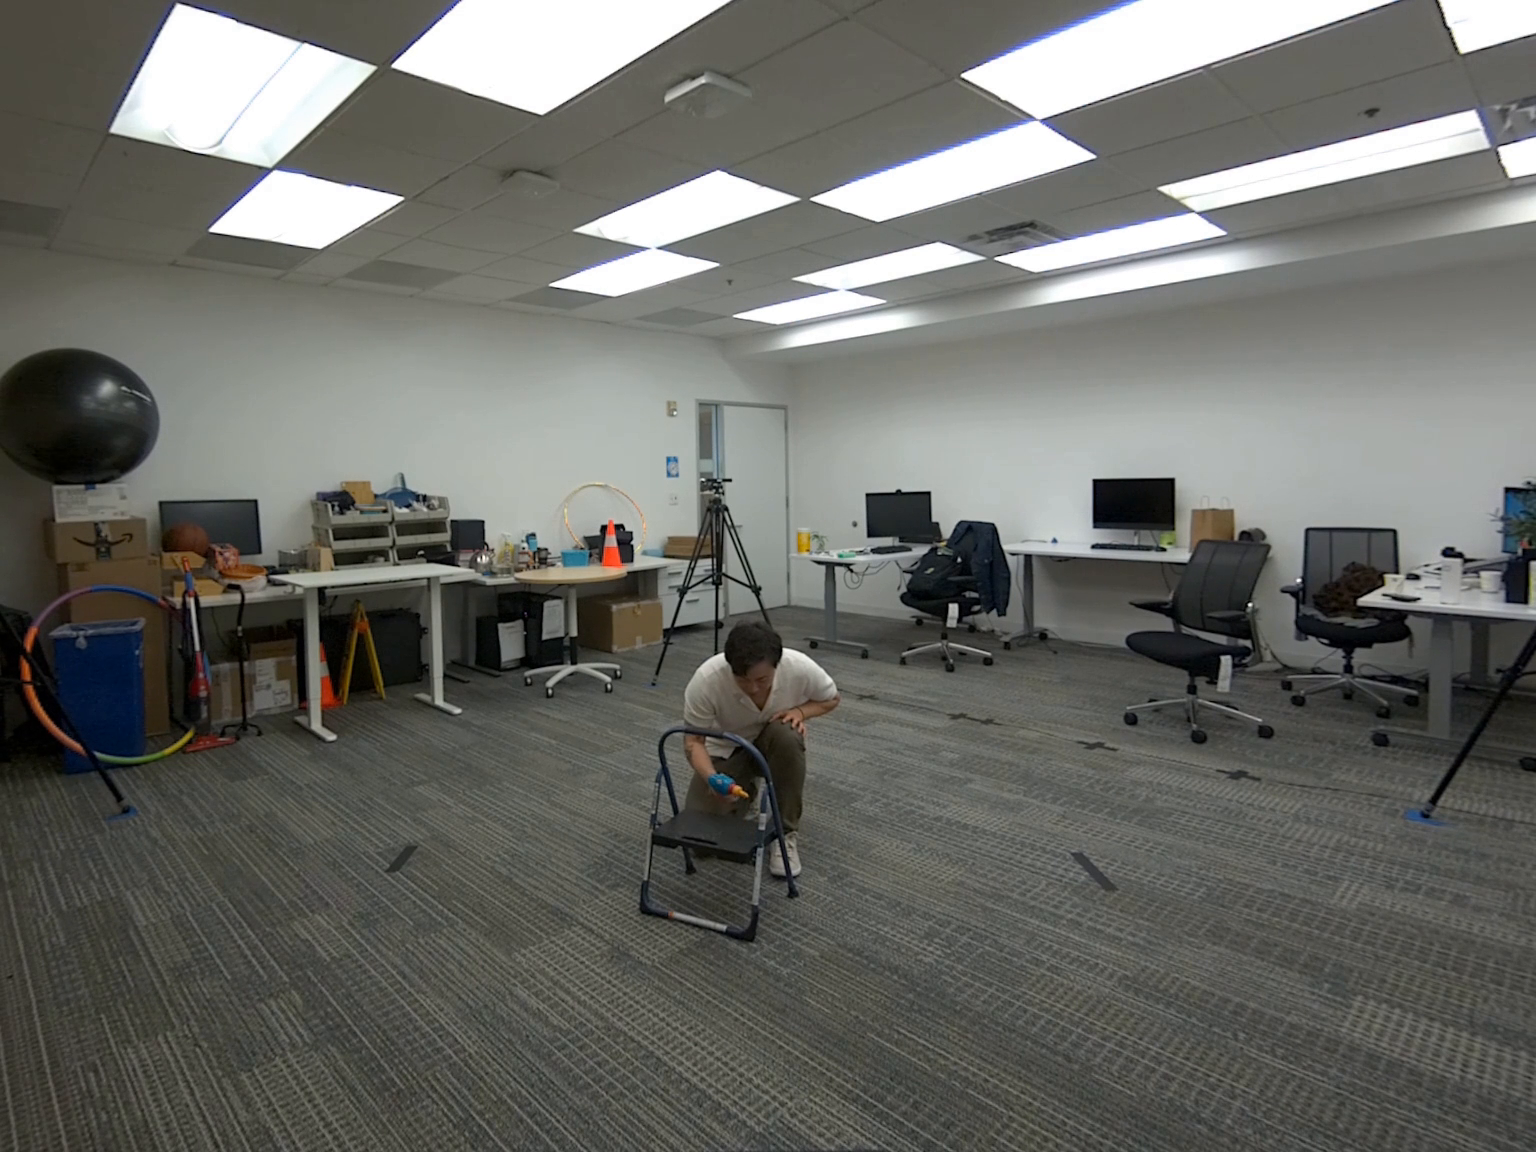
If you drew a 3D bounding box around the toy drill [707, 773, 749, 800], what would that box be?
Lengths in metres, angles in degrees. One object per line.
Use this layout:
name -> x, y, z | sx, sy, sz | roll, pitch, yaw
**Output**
toy drill -> -0.130, 0.744, 2.948 | 0.175, 0.061, 0.140 | 14, -20, 33
